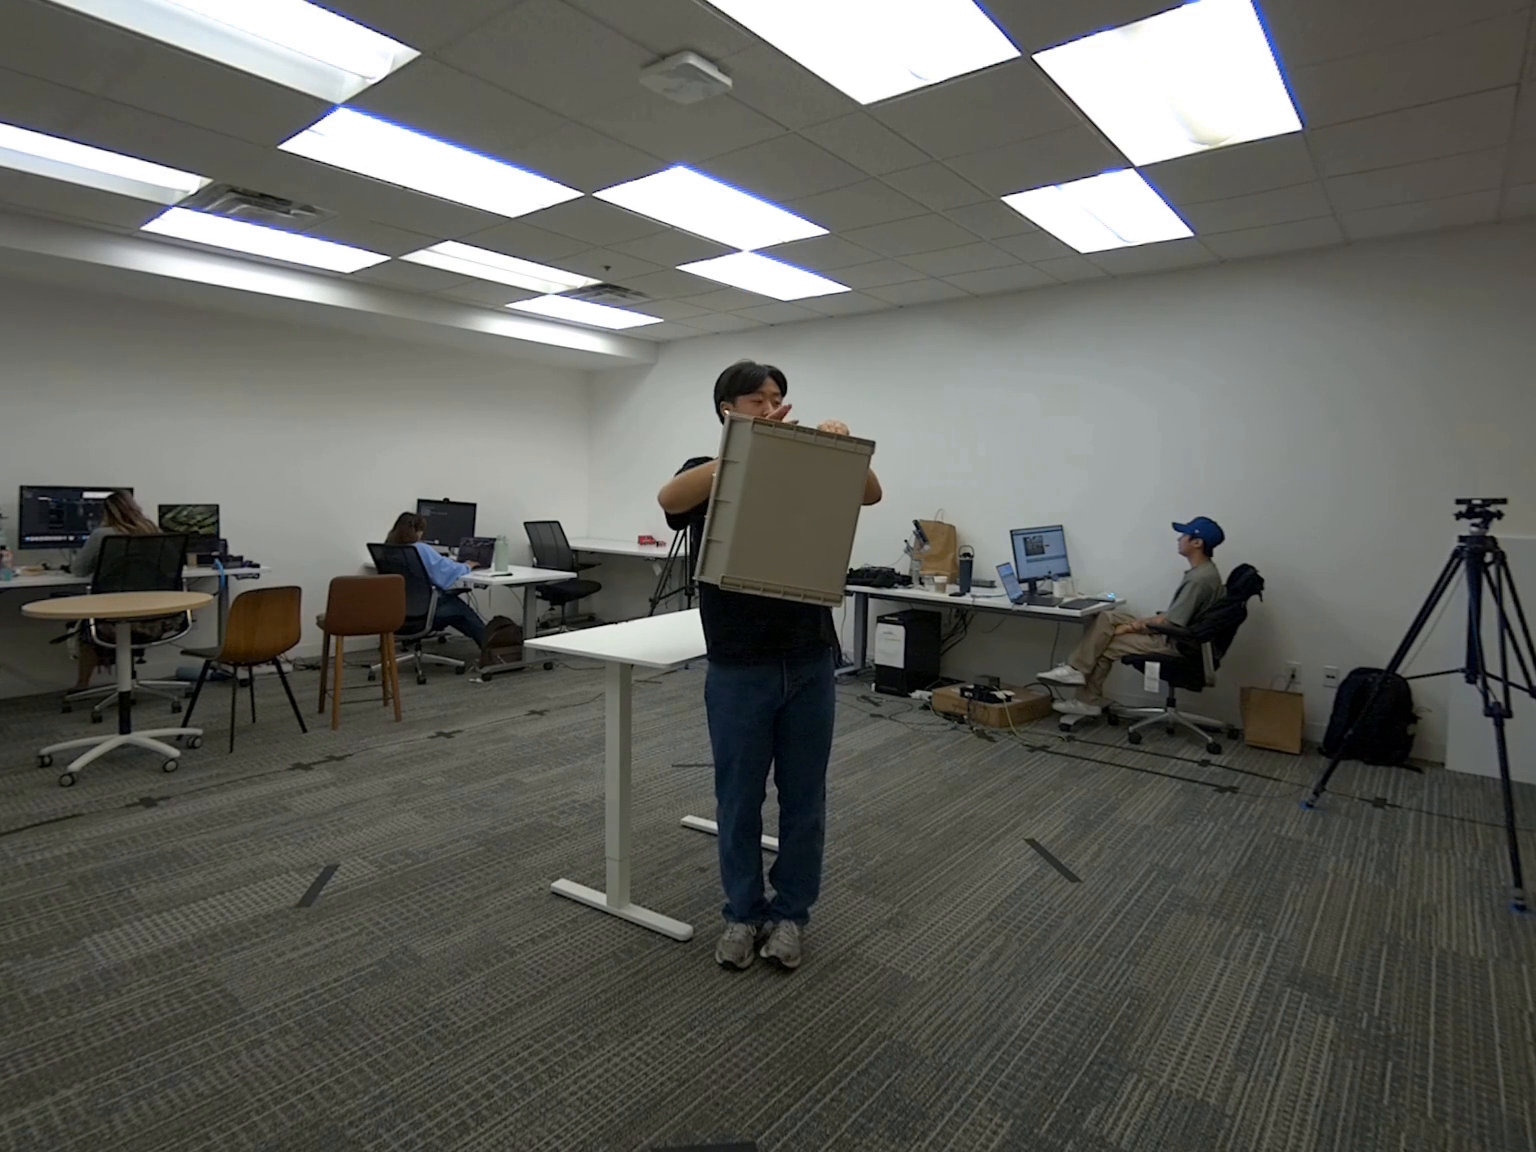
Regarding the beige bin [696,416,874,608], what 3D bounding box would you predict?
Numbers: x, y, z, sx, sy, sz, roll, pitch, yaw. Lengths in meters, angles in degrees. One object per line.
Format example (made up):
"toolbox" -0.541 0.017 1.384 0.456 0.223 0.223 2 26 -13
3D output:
"beige bin" 0.026 -0.172 2.112 0.372 0.421 0.192 11 5 -12
